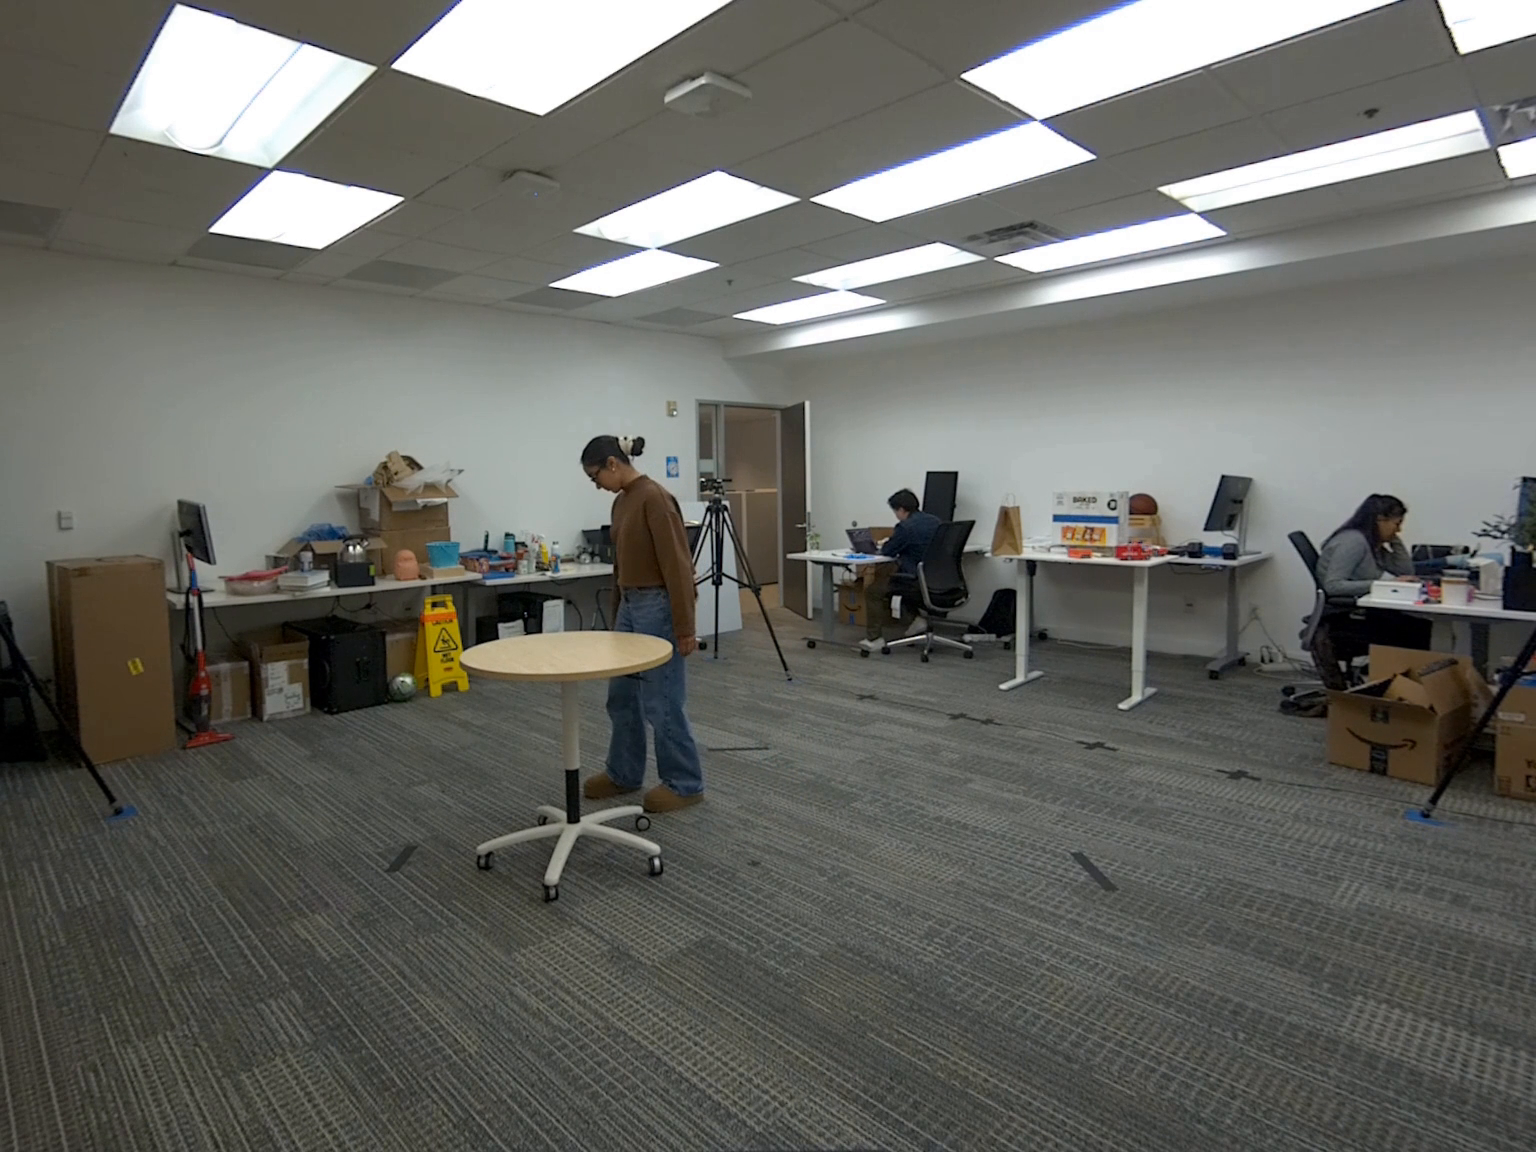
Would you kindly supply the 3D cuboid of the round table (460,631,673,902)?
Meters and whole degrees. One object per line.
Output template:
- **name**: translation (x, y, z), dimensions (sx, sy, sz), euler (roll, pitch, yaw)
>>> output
- **round table**: translation (-0.720, 0.663, 3.155), dimensions (0.763, 0.791, 0.768), euler (-1, 5, -2)
